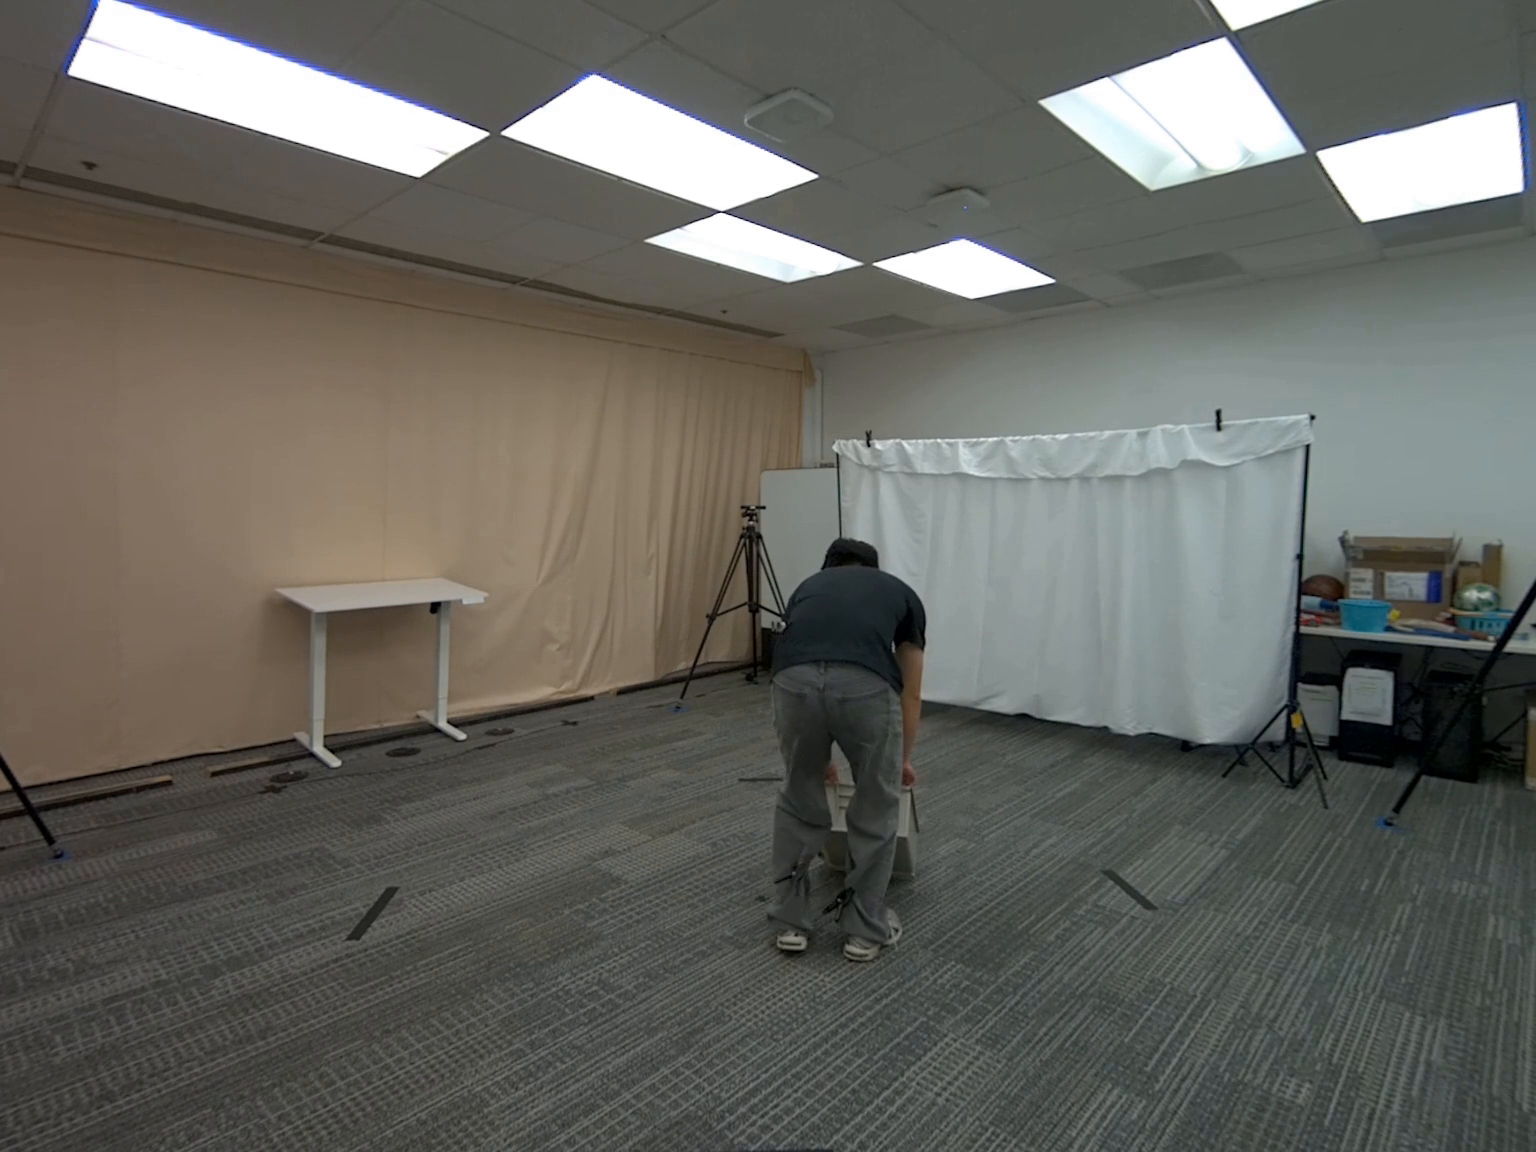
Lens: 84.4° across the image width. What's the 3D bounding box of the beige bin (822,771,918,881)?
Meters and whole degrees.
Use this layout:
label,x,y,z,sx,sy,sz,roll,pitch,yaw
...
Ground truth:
label,x,y,z,sx,sy,sz,roll,pitch,yaw
beige bin,0.343,0.927,3.076,0.385,0.191,0.410,2,-38,17
